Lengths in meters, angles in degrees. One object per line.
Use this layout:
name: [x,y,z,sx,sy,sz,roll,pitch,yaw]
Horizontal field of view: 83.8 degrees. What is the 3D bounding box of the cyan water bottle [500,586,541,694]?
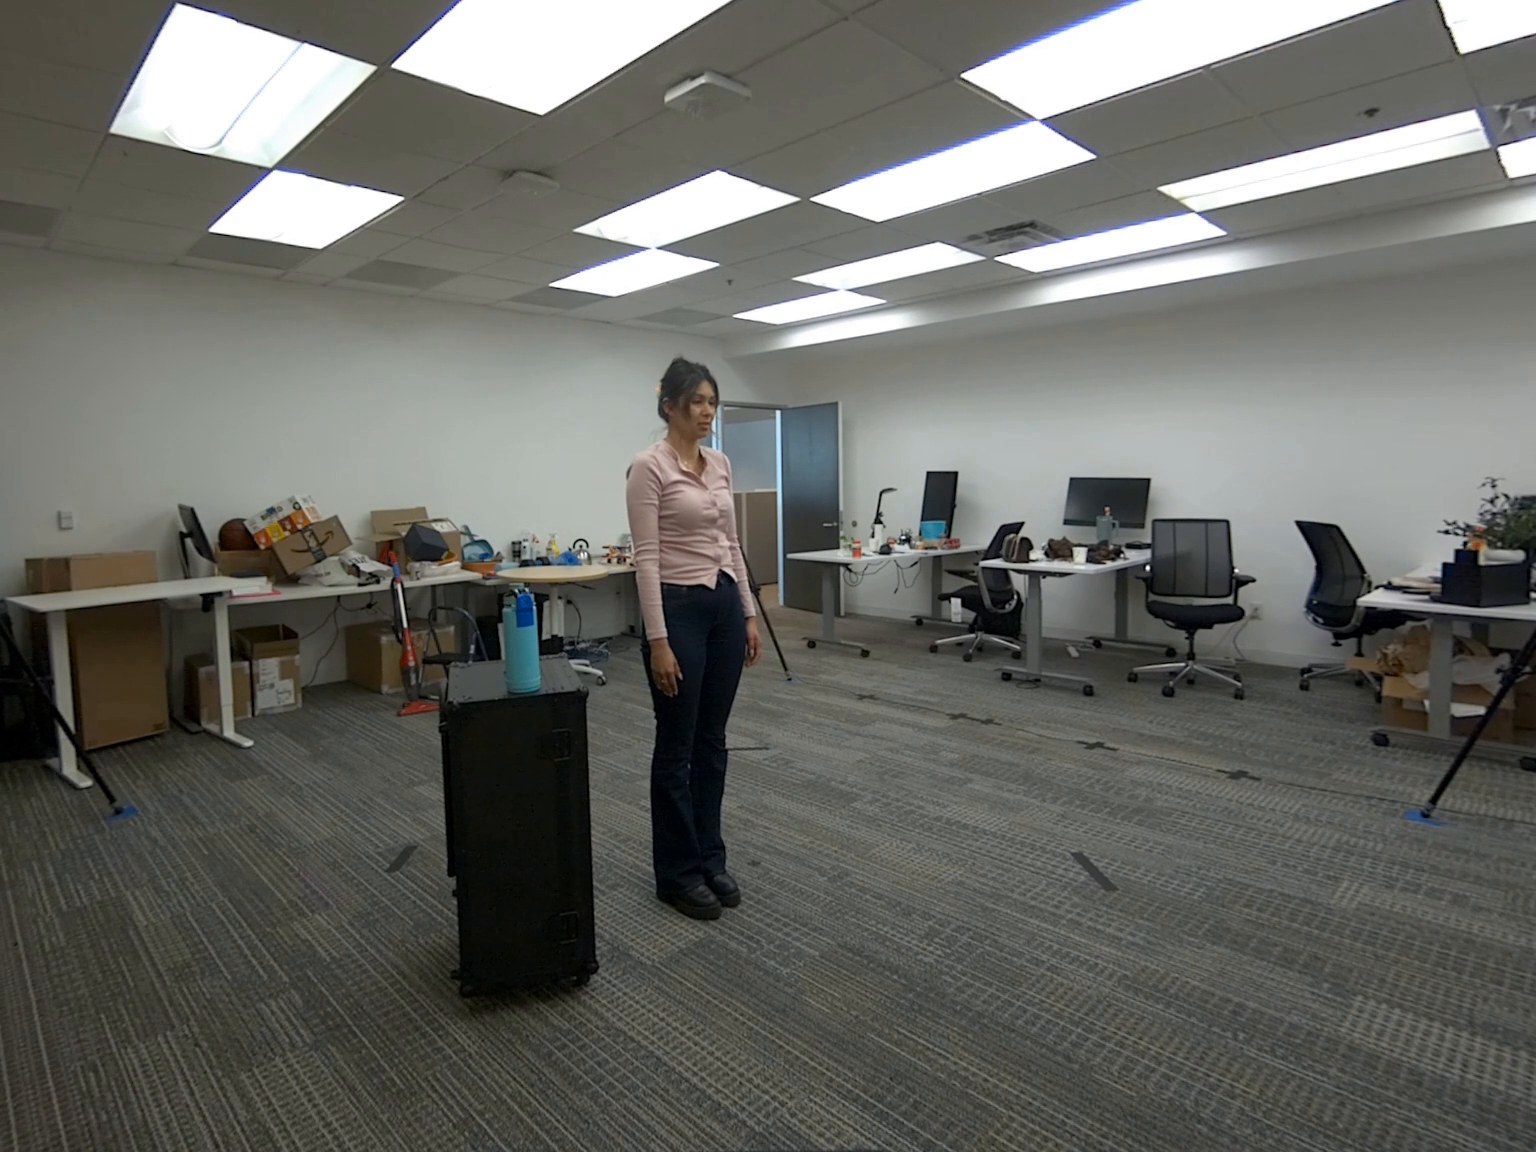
cyan water bottle: [-0.658,0.165,2.273,0.092,0.282,0.093,-1,4,-2]
